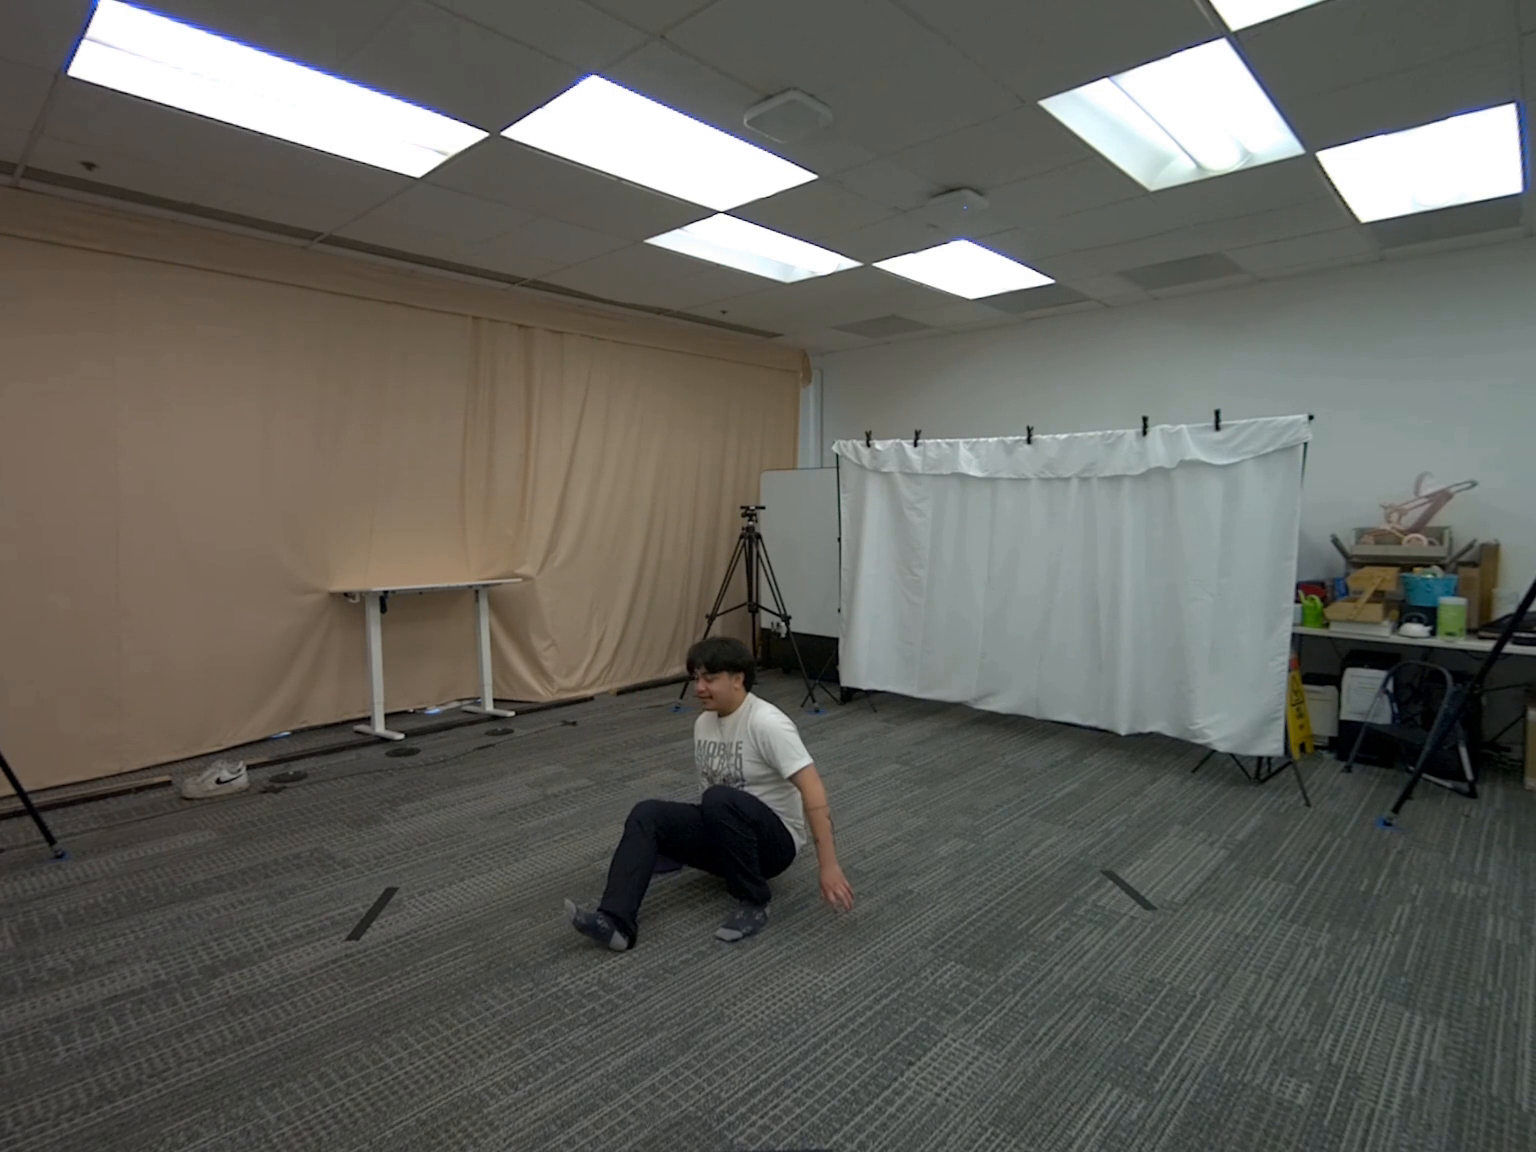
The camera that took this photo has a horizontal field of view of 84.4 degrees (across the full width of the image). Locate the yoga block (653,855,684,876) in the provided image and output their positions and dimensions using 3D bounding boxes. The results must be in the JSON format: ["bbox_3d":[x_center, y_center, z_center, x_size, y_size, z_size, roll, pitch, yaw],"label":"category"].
[{"bbox_3d":[-0.455,1.088,3.261,0.225,0.076,0.152,-3,6,-21],"label":"yoga block"}]
